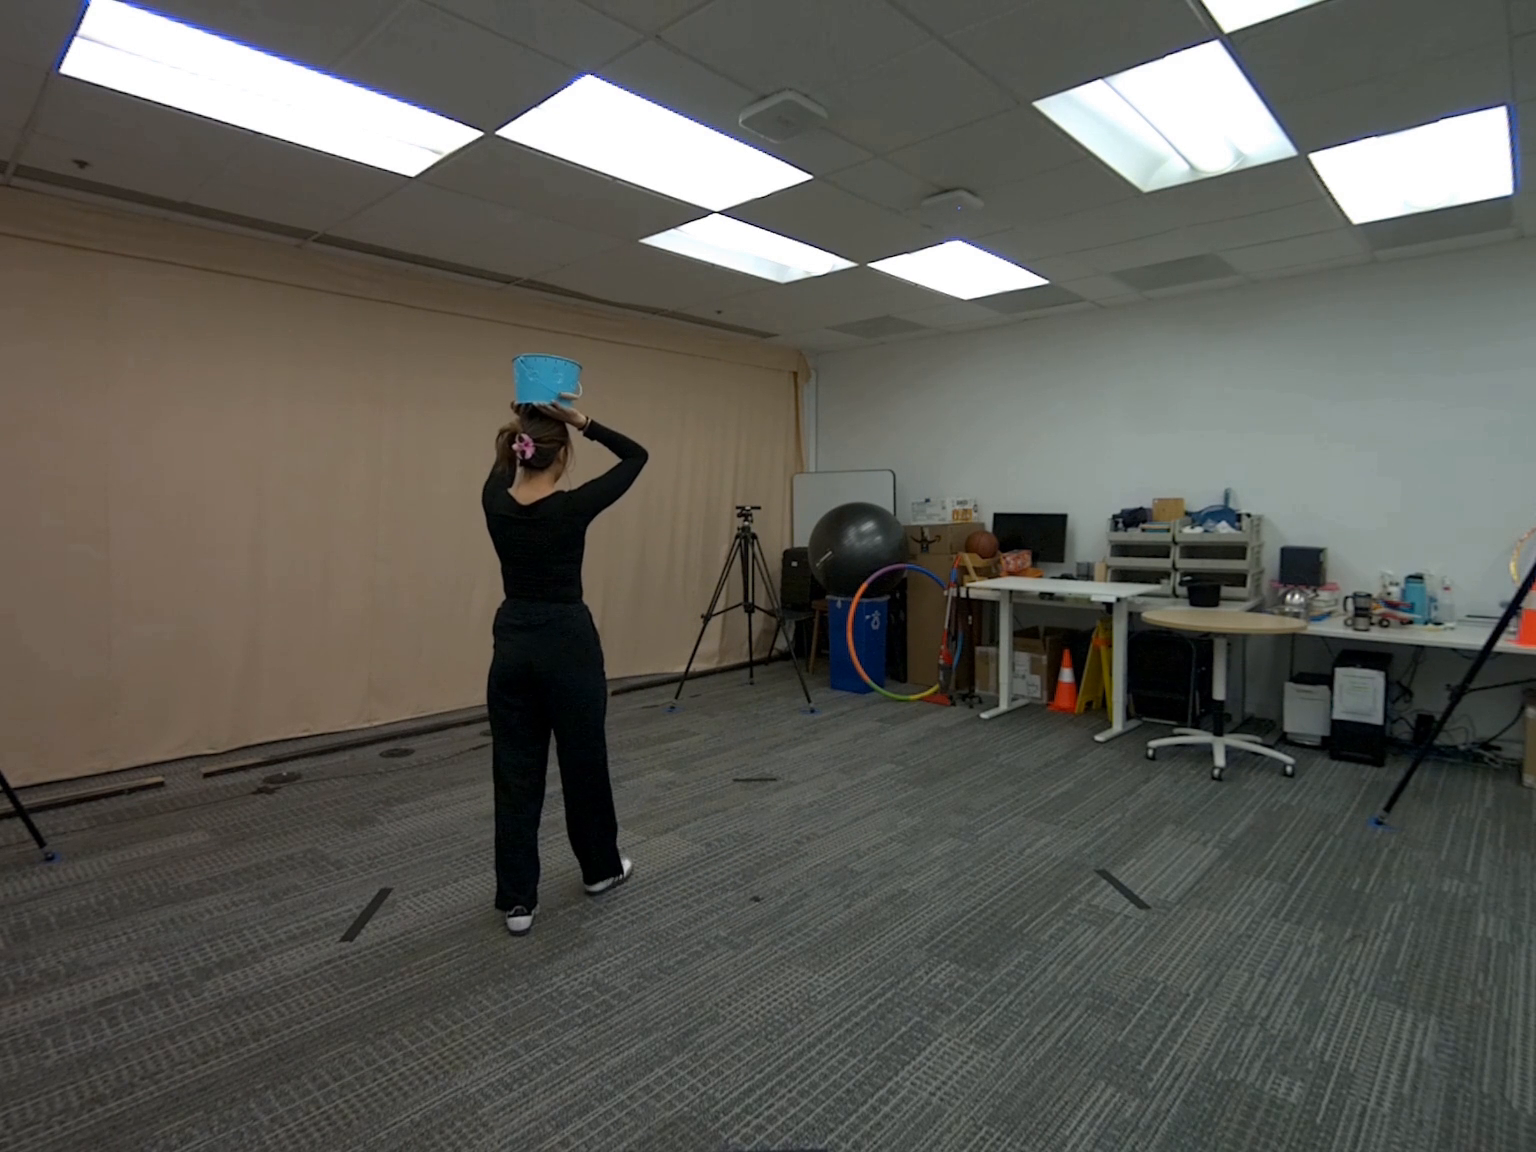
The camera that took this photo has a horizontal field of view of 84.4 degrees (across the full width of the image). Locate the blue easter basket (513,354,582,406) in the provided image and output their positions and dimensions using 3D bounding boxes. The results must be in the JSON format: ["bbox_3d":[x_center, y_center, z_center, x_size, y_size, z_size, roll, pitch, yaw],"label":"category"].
[{"bbox_3d":[-0.740,-0.630,2.789,0.243,0.156,0.243,1,-2,-2],"label":"blue easter basket"}]
